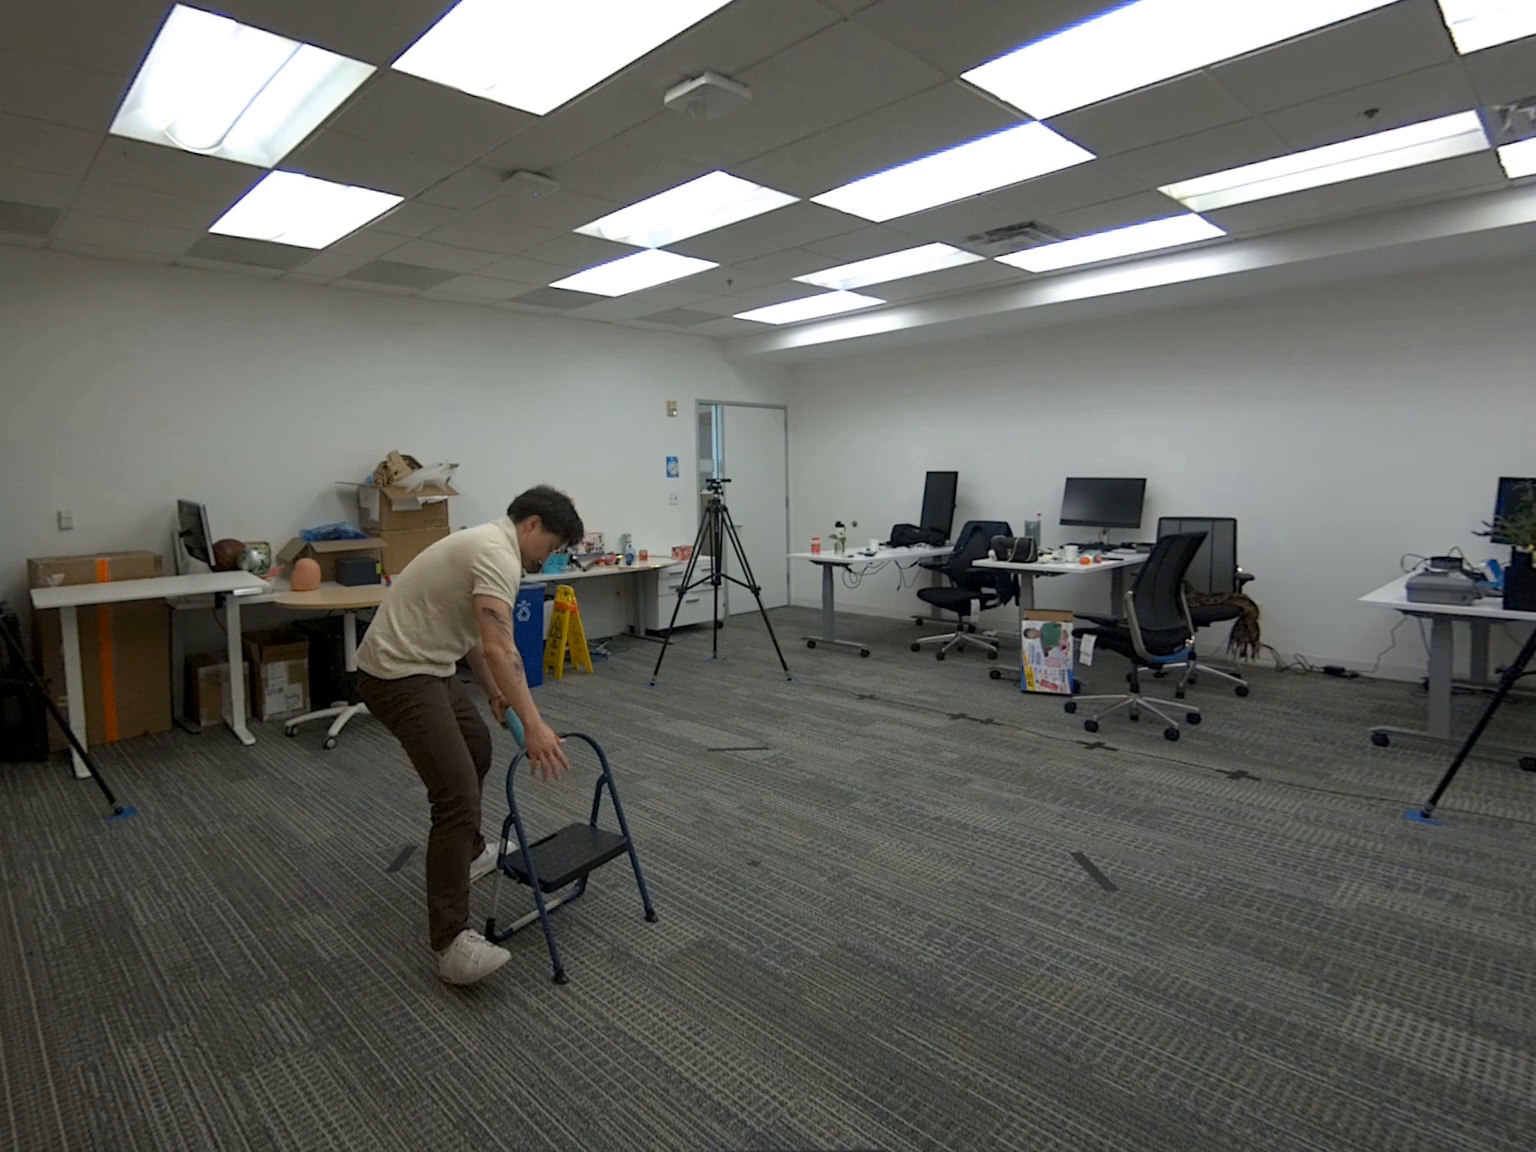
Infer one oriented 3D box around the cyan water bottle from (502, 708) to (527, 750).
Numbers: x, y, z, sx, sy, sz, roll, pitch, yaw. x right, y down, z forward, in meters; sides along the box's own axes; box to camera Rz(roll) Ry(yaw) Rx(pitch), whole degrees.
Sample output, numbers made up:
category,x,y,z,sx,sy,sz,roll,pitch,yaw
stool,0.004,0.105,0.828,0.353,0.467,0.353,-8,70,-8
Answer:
category,x,y,z,sx,sy,sz,roll,pitch,yaw
cyan water bottle,-0.810,0.523,2.931,0.090,0.091,0.294,-4,20,-30
